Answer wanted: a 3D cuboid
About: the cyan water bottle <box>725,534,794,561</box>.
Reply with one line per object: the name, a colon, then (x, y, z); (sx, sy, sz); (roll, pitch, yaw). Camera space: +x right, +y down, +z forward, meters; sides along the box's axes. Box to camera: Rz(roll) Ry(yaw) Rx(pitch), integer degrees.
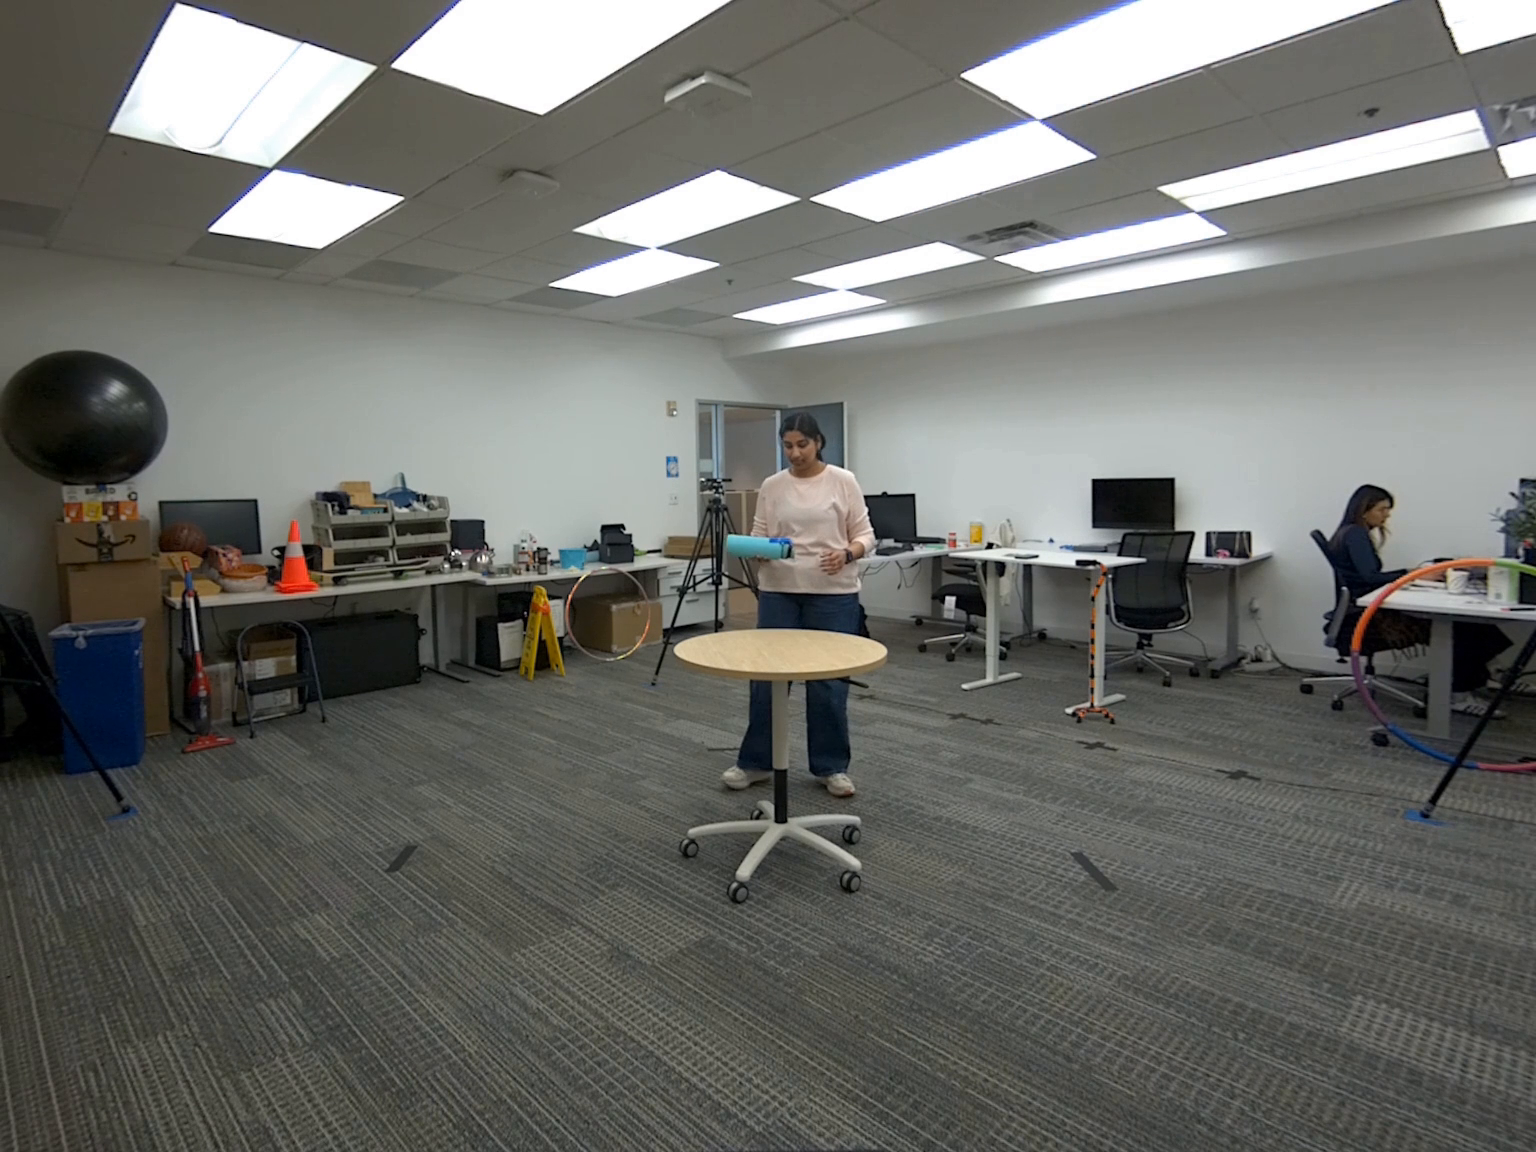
cyan water bottle: (-0.035, -0.116, 3.551); (0.285, 0.092, 0.092); (4, 5, 5)
